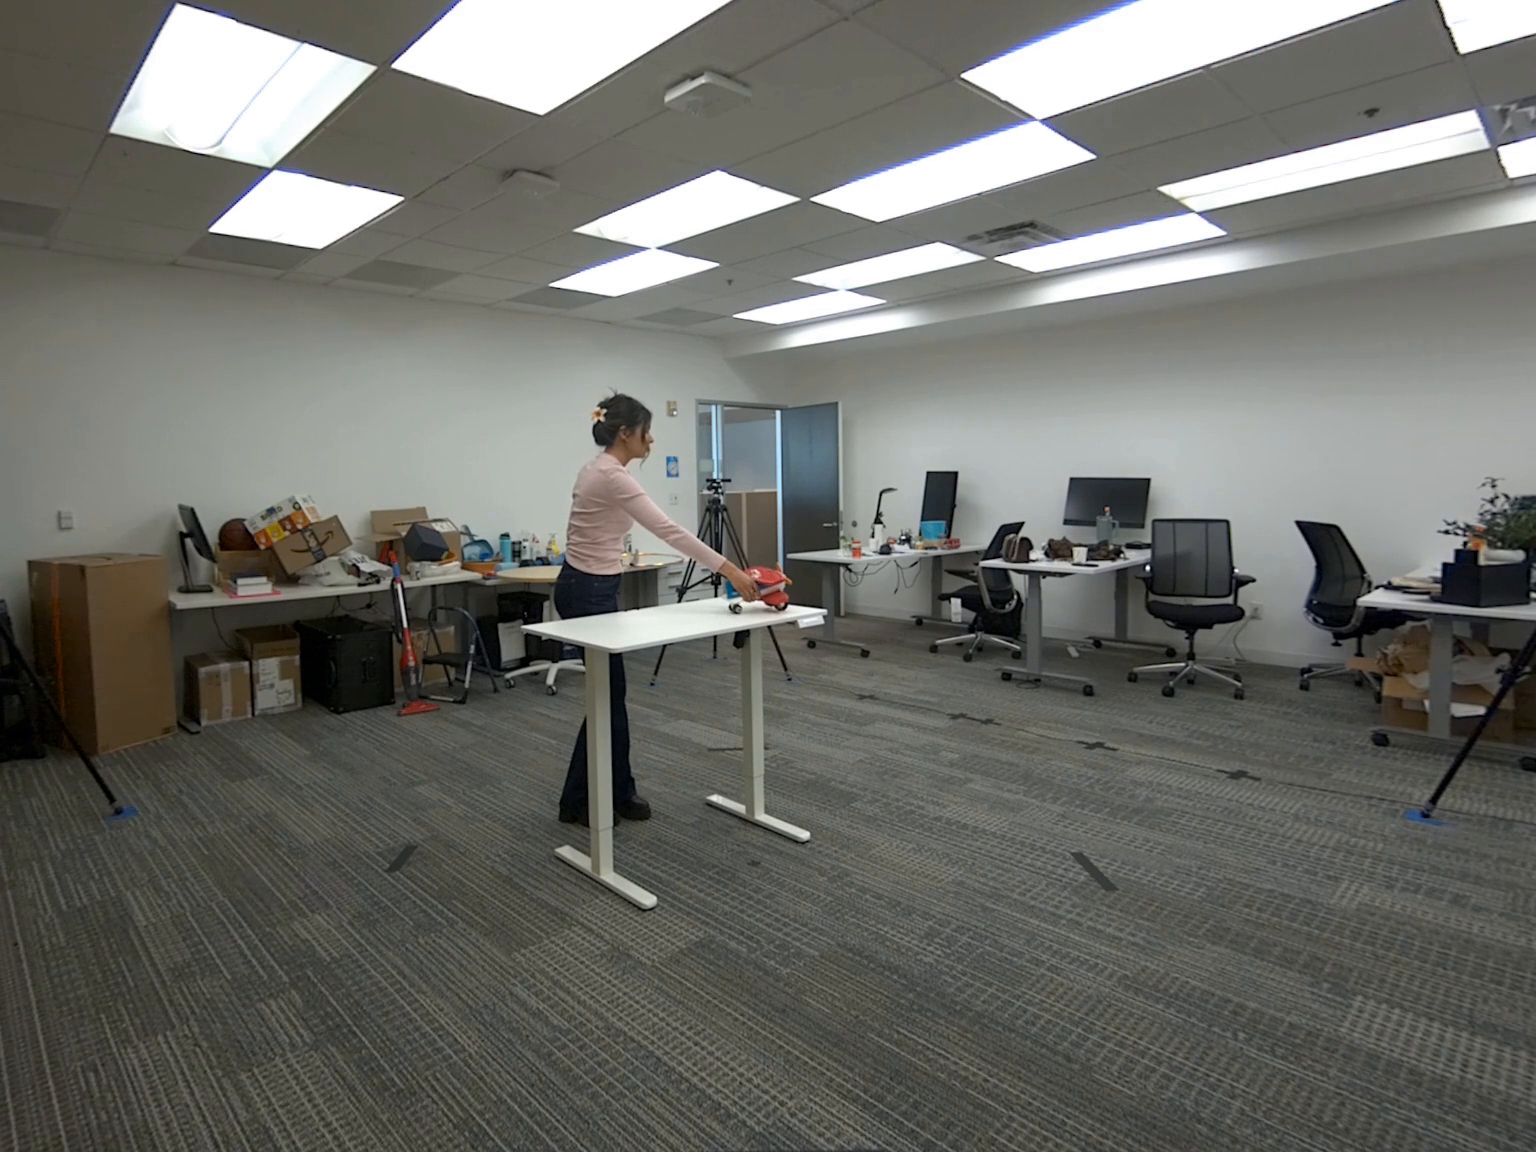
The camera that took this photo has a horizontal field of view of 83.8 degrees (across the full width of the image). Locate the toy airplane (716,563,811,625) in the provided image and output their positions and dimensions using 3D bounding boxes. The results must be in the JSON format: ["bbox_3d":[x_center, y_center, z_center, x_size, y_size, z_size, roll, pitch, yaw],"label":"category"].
[{"bbox_3d":[-0.019,0.061,3.299,0.259,0.155,0.253,9,13,36],"label":"toy airplane"}]
